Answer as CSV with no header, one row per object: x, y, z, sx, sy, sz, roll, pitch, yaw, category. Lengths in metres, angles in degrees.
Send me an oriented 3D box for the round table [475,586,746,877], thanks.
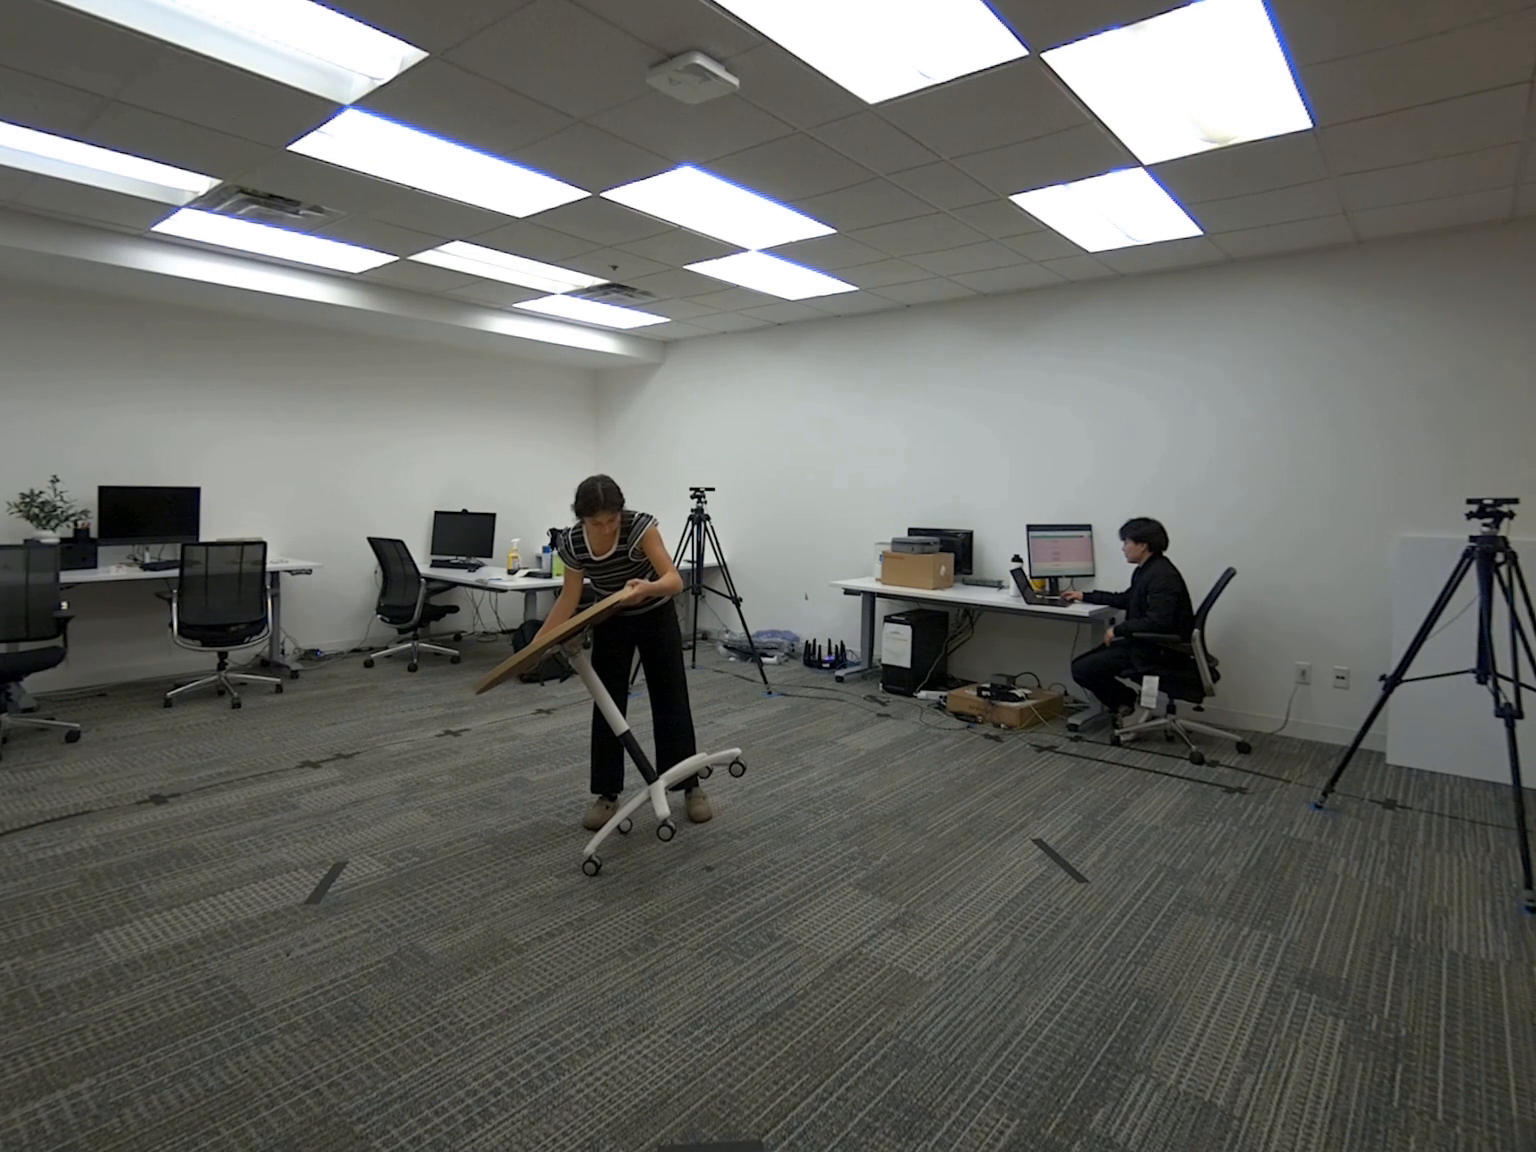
-0.561,0.548,3.211,0.784,0.790,0.783,-32,-1,-3,round table
